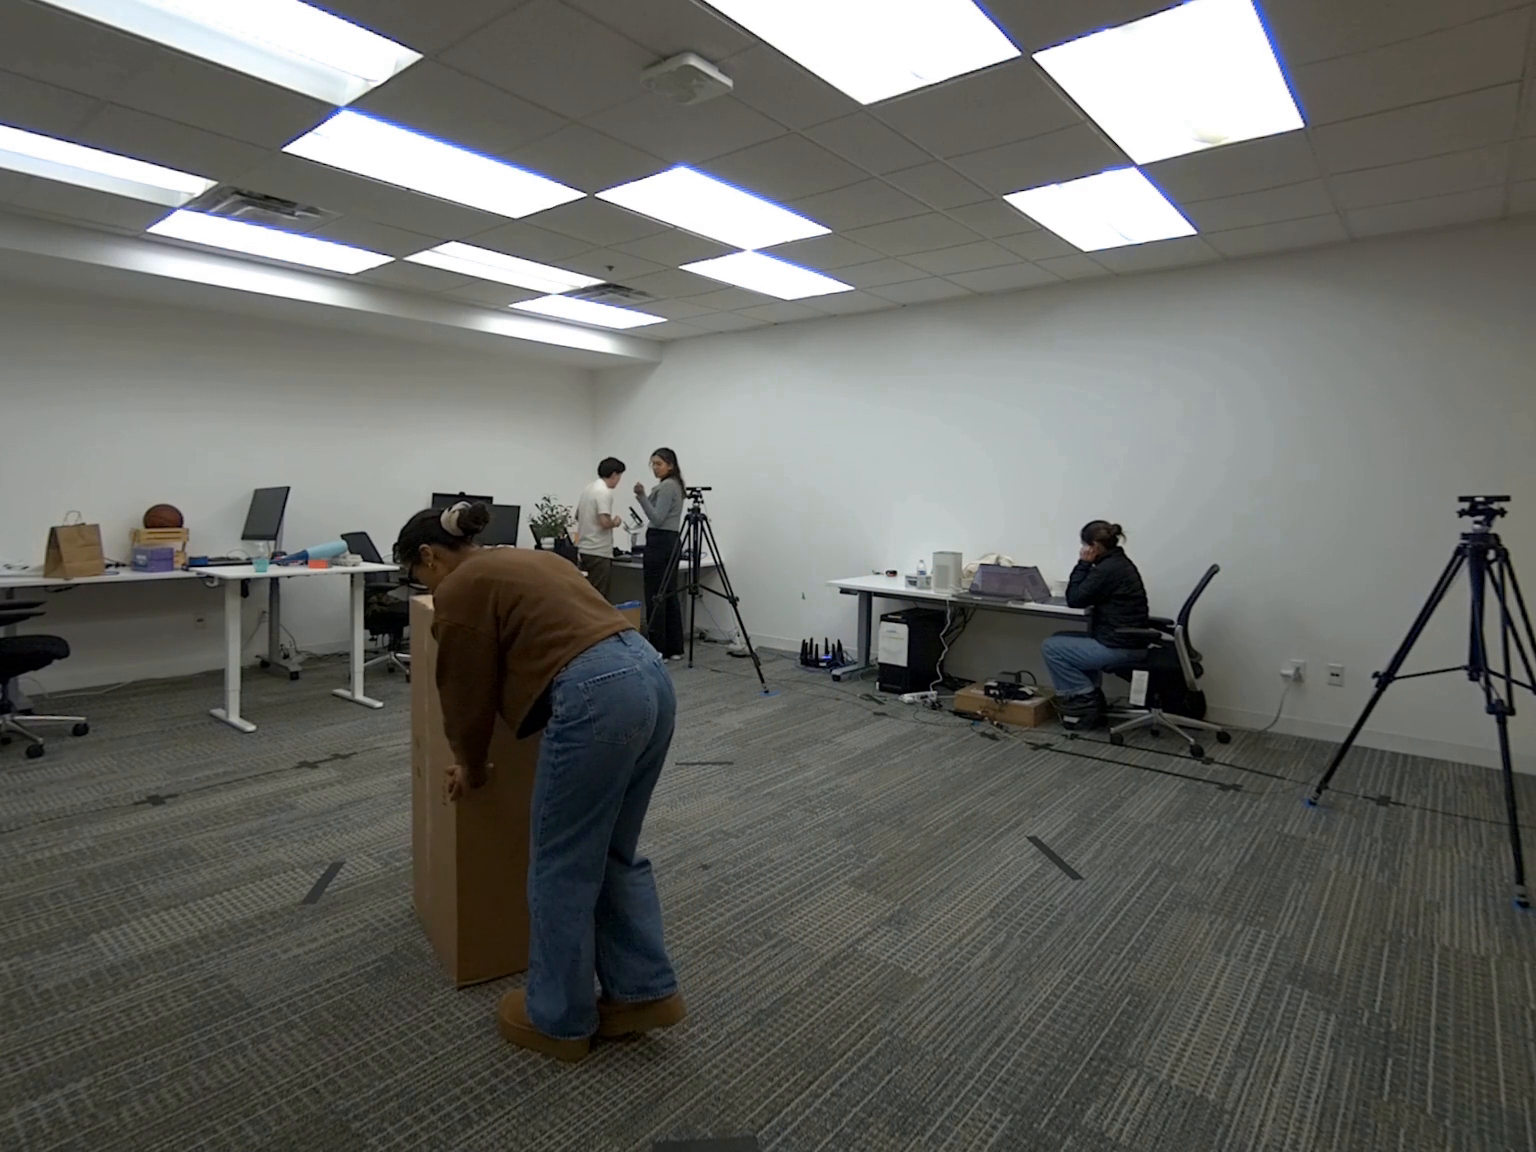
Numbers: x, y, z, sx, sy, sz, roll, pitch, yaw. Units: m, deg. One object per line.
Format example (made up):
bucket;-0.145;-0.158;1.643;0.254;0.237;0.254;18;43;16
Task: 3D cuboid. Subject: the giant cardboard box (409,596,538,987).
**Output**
giant cardboard box;-0.846;0.599;2.656;0.414;1.023;0.596;-1;3;-34
